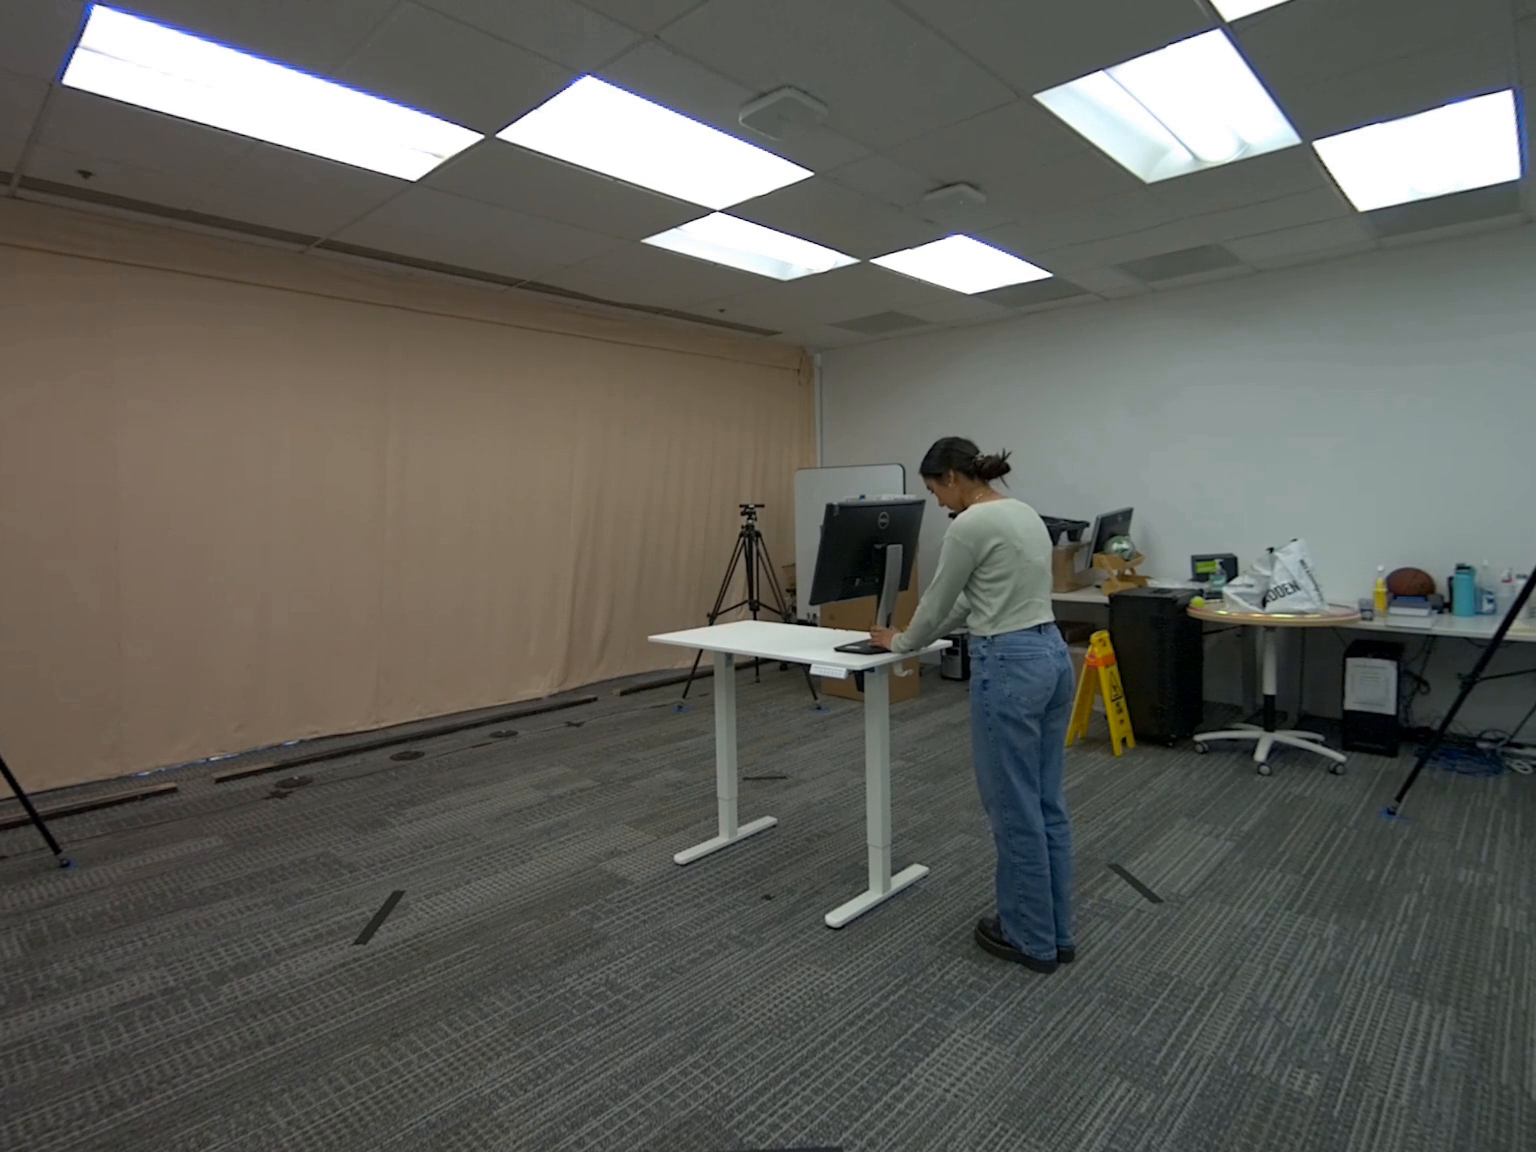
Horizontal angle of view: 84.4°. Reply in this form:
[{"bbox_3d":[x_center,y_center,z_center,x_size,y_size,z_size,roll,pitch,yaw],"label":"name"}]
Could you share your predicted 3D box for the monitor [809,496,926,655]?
[{"bbox_3d":[0.386,0.000,2.922,0.193,0.521,0.523,4,7,44],"label":"monitor"}]
